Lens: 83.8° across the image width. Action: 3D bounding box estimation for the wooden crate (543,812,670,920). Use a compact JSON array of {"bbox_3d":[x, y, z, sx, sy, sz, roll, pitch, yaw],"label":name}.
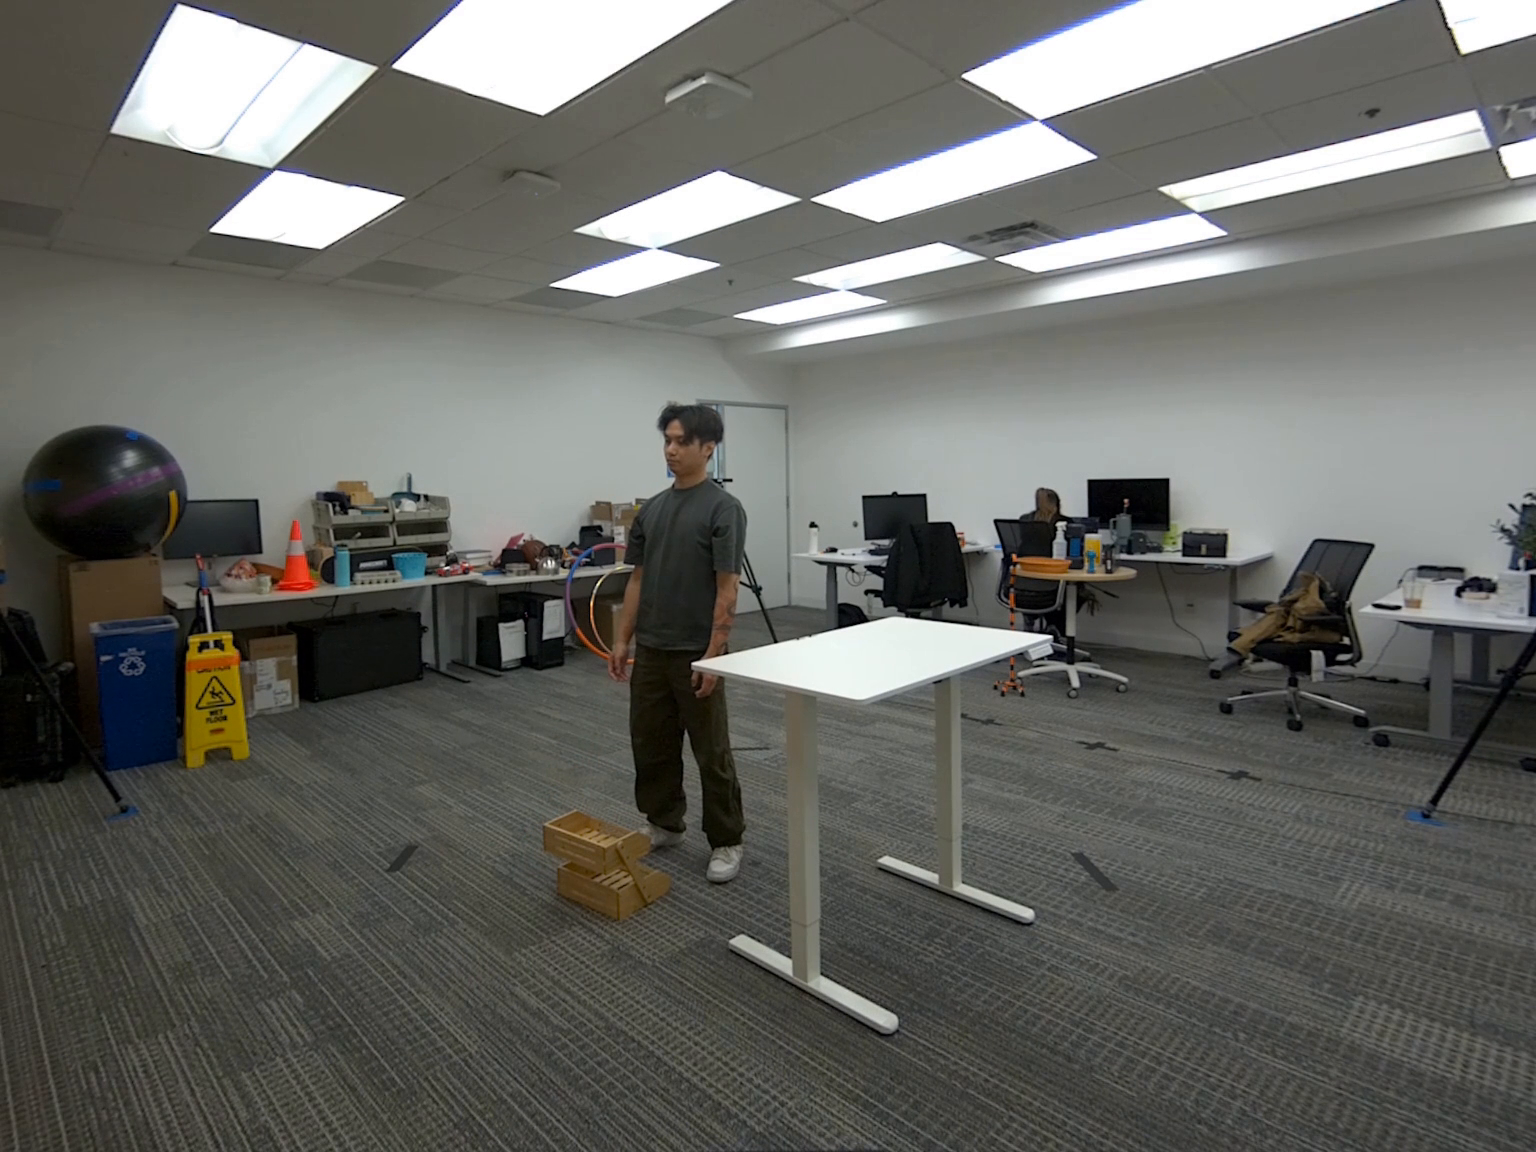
[{"bbox_3d":[-0.529,0.939,2.886,0.334,0.272,0.295,3,8,37],"label":"wooden crate"}]
